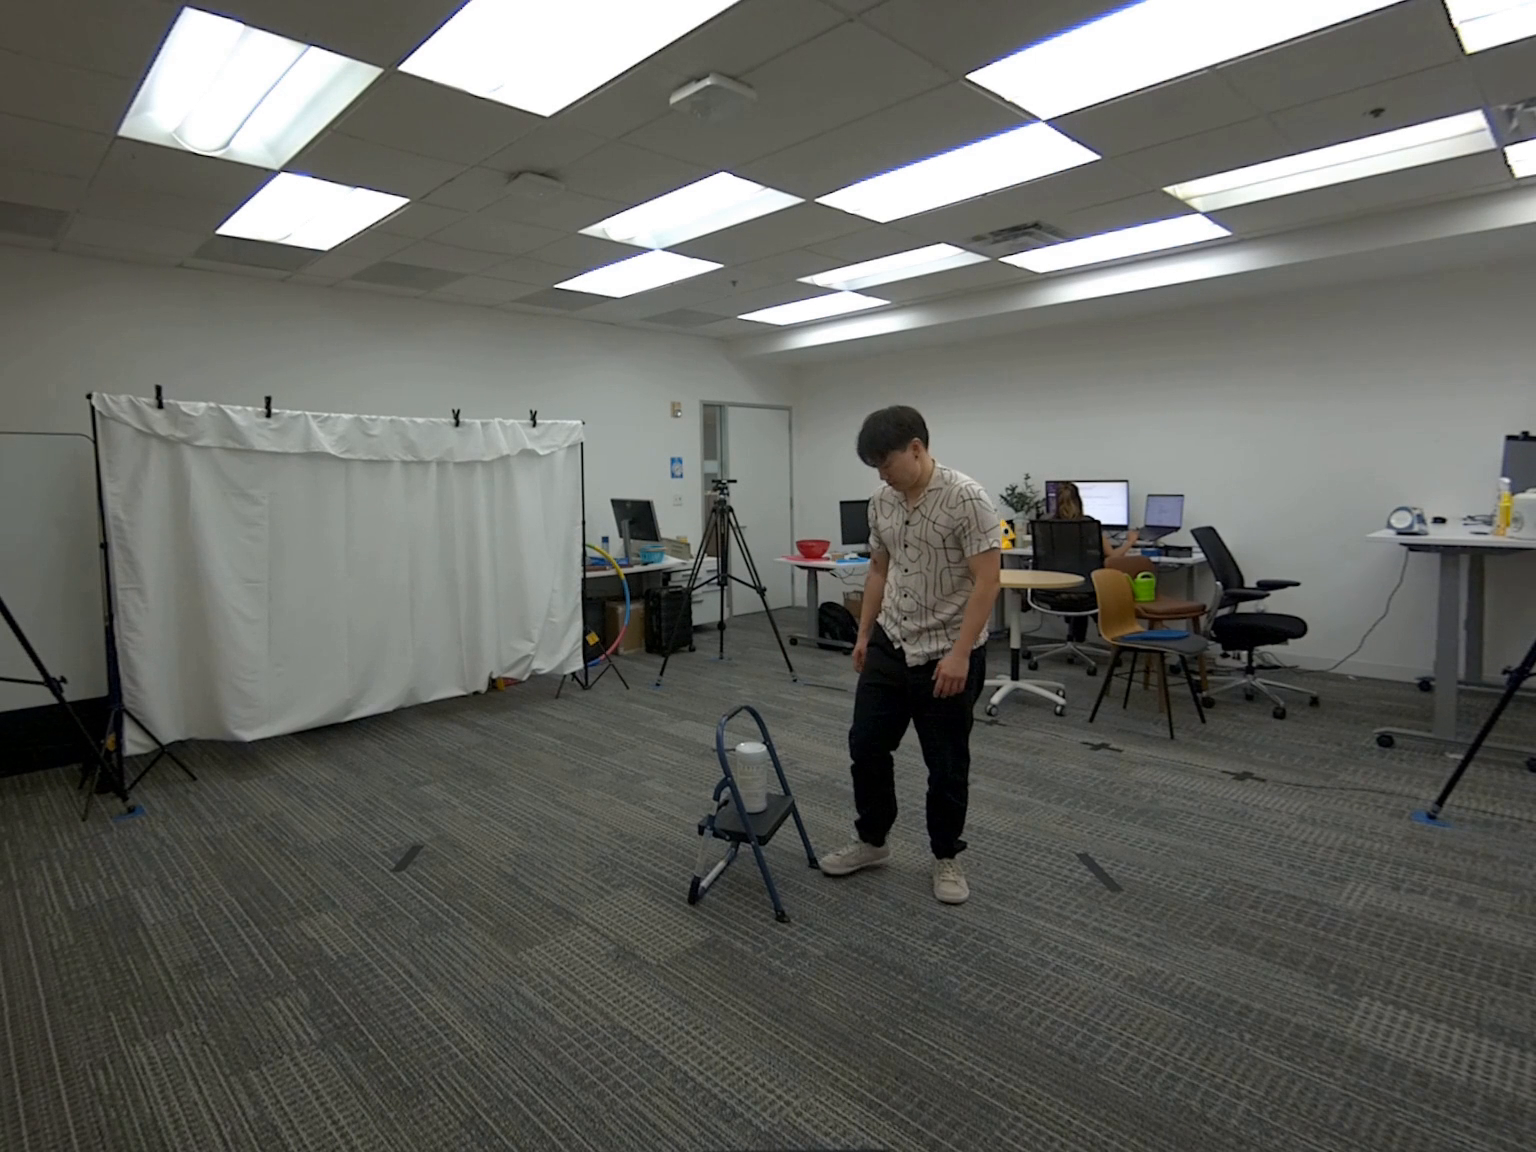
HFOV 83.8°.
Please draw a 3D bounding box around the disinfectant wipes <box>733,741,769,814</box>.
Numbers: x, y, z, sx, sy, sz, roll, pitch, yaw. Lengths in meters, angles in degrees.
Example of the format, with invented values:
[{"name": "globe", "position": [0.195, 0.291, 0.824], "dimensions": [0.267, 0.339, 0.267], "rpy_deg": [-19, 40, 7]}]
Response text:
[{"name": "disinfectant wipes", "position": [-0.053, 0.702, 2.946], "dimensions": [0.118, 0.216, 0.118], "rpy_deg": [-1, 5, -2]}]
